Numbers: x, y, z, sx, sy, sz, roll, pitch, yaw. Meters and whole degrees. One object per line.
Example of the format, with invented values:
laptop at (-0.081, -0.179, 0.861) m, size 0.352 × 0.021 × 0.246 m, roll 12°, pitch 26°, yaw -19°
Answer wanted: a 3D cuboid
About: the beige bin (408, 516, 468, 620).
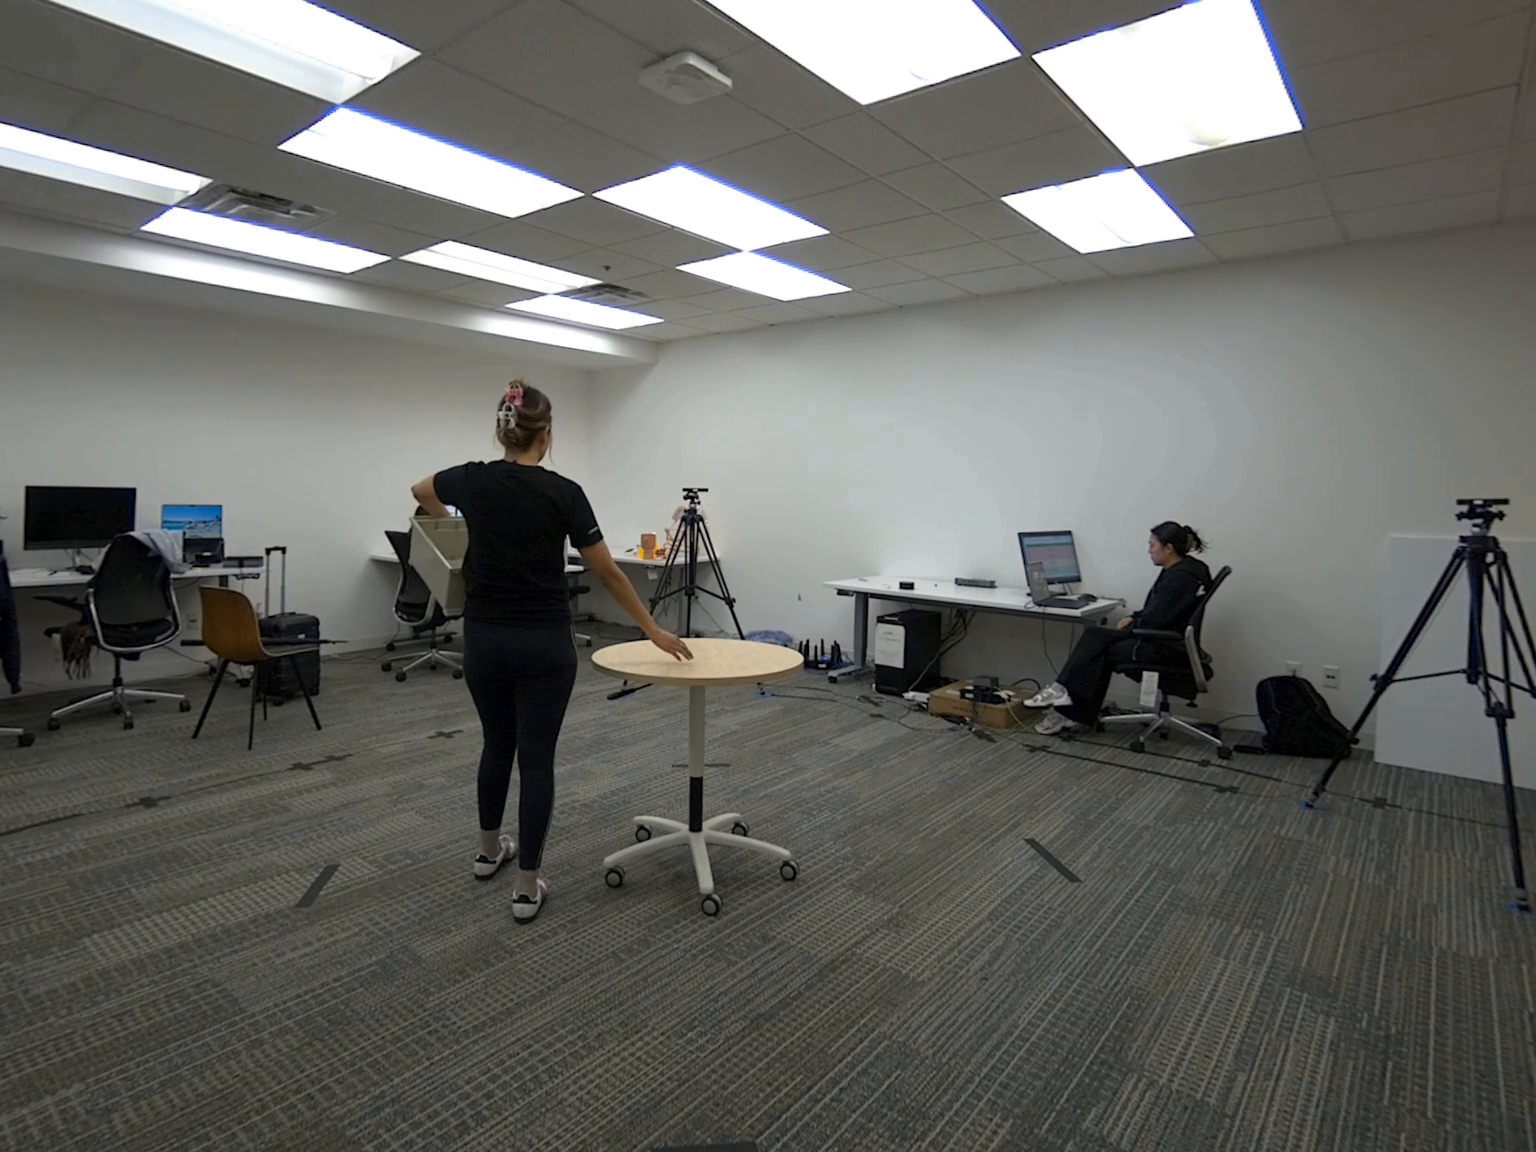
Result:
beige bin at (-1.042, -0.051, 3.026) m, size 0.366 × 0.186 × 0.441 m, roll -4°, pitch 29°, yaw -39°
